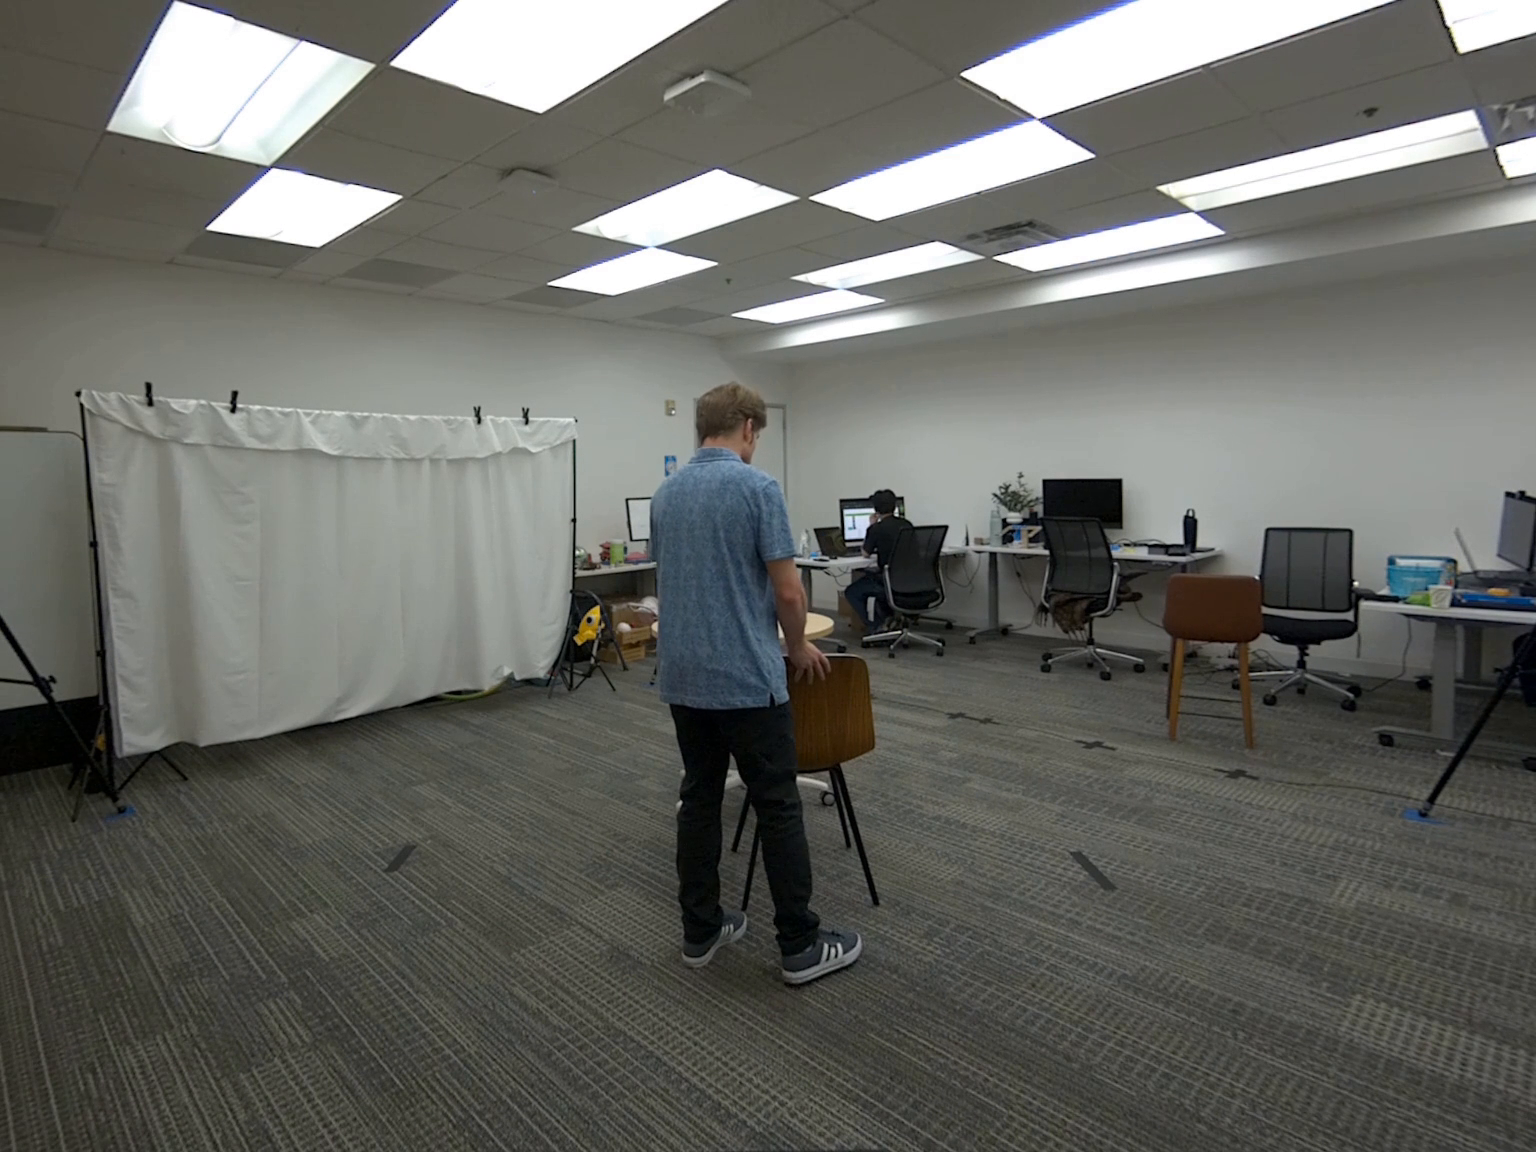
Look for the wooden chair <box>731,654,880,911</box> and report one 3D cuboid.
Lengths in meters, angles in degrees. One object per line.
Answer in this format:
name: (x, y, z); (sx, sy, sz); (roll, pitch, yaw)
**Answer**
wooden chair: (0.106, 0.629, 2.963); (0.475, 0.871, 0.530); (-2, 8, -7)
